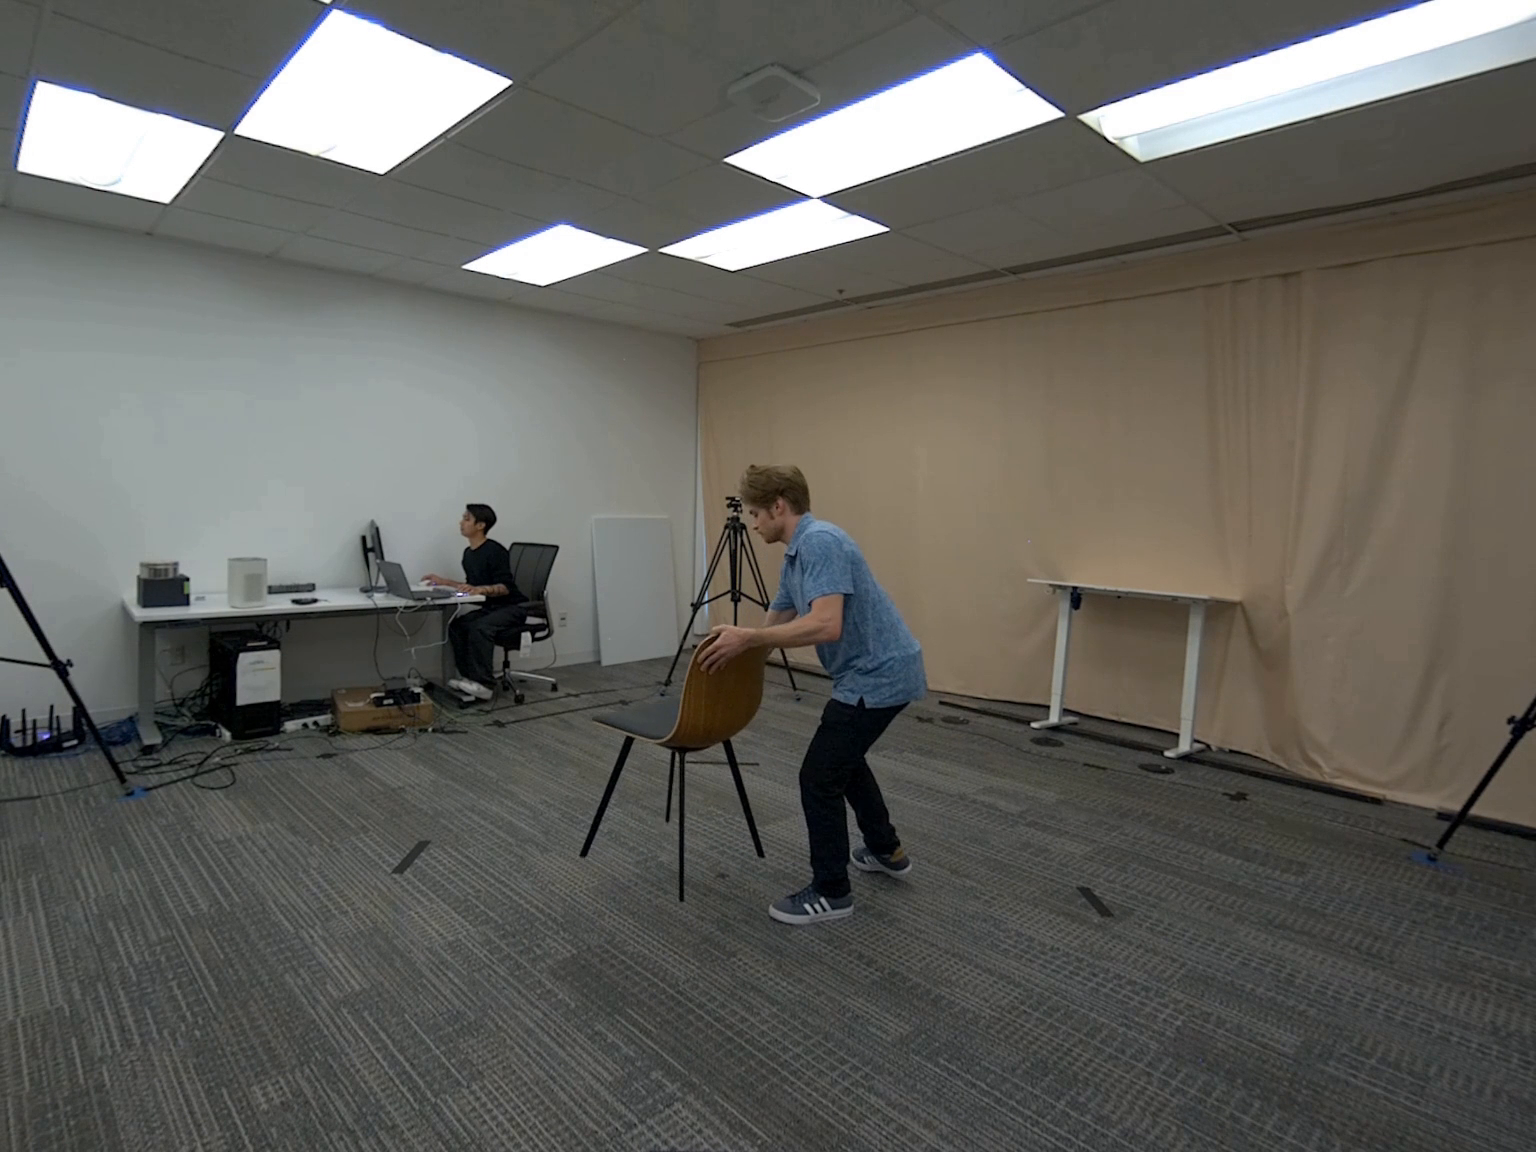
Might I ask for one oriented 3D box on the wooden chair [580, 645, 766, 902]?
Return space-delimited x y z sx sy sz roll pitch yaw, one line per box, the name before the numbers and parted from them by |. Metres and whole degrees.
wooden chair | -0.309 0.548 2.869 0.537 0.873 0.468 11 8 35
